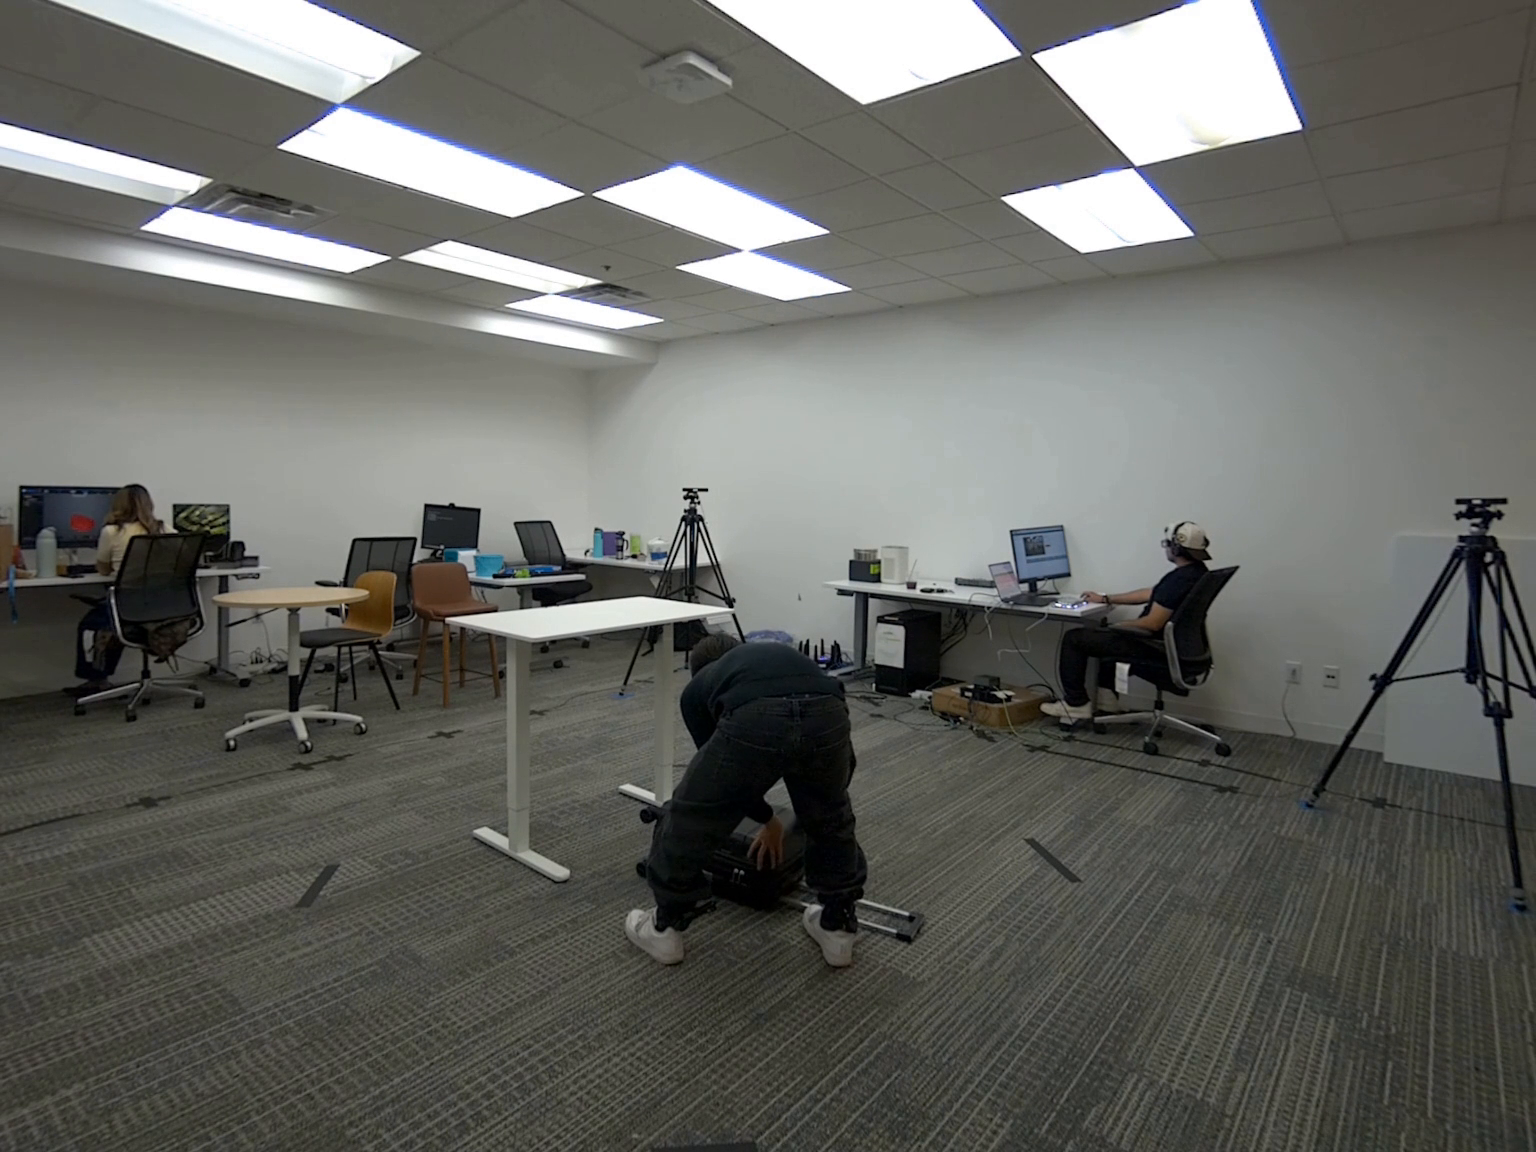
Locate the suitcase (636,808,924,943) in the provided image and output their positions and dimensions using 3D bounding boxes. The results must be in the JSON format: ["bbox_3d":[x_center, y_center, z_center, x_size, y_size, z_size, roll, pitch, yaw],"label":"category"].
[{"bbox_3d":[0.030,0.962,2.934,1.007,0.257,0.374,4,3,29],"label":"suitcase"}]
